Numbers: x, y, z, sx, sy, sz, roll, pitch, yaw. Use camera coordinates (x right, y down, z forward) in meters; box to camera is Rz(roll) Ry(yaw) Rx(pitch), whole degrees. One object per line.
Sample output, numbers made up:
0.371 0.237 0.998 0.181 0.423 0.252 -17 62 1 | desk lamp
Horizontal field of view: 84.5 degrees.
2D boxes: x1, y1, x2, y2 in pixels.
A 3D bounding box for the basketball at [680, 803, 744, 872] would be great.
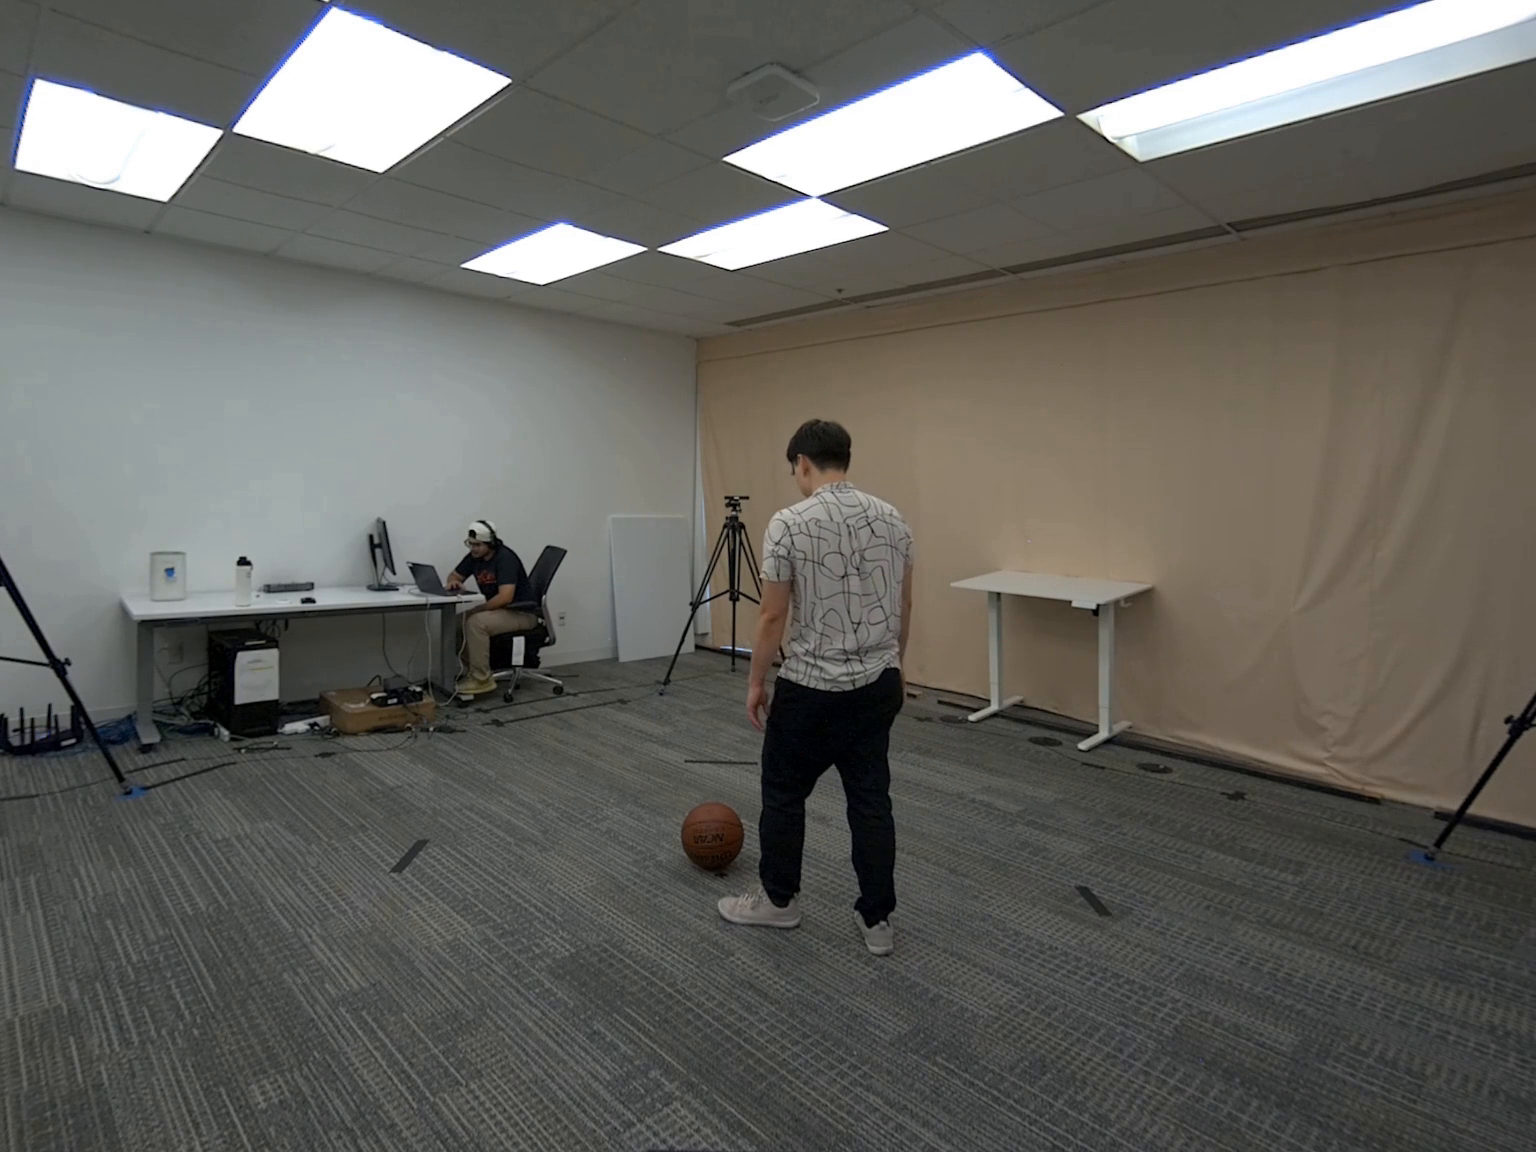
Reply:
-0.213 0.971 3.172 0.236 0.235 0.237 1 4 -1 | basketball
